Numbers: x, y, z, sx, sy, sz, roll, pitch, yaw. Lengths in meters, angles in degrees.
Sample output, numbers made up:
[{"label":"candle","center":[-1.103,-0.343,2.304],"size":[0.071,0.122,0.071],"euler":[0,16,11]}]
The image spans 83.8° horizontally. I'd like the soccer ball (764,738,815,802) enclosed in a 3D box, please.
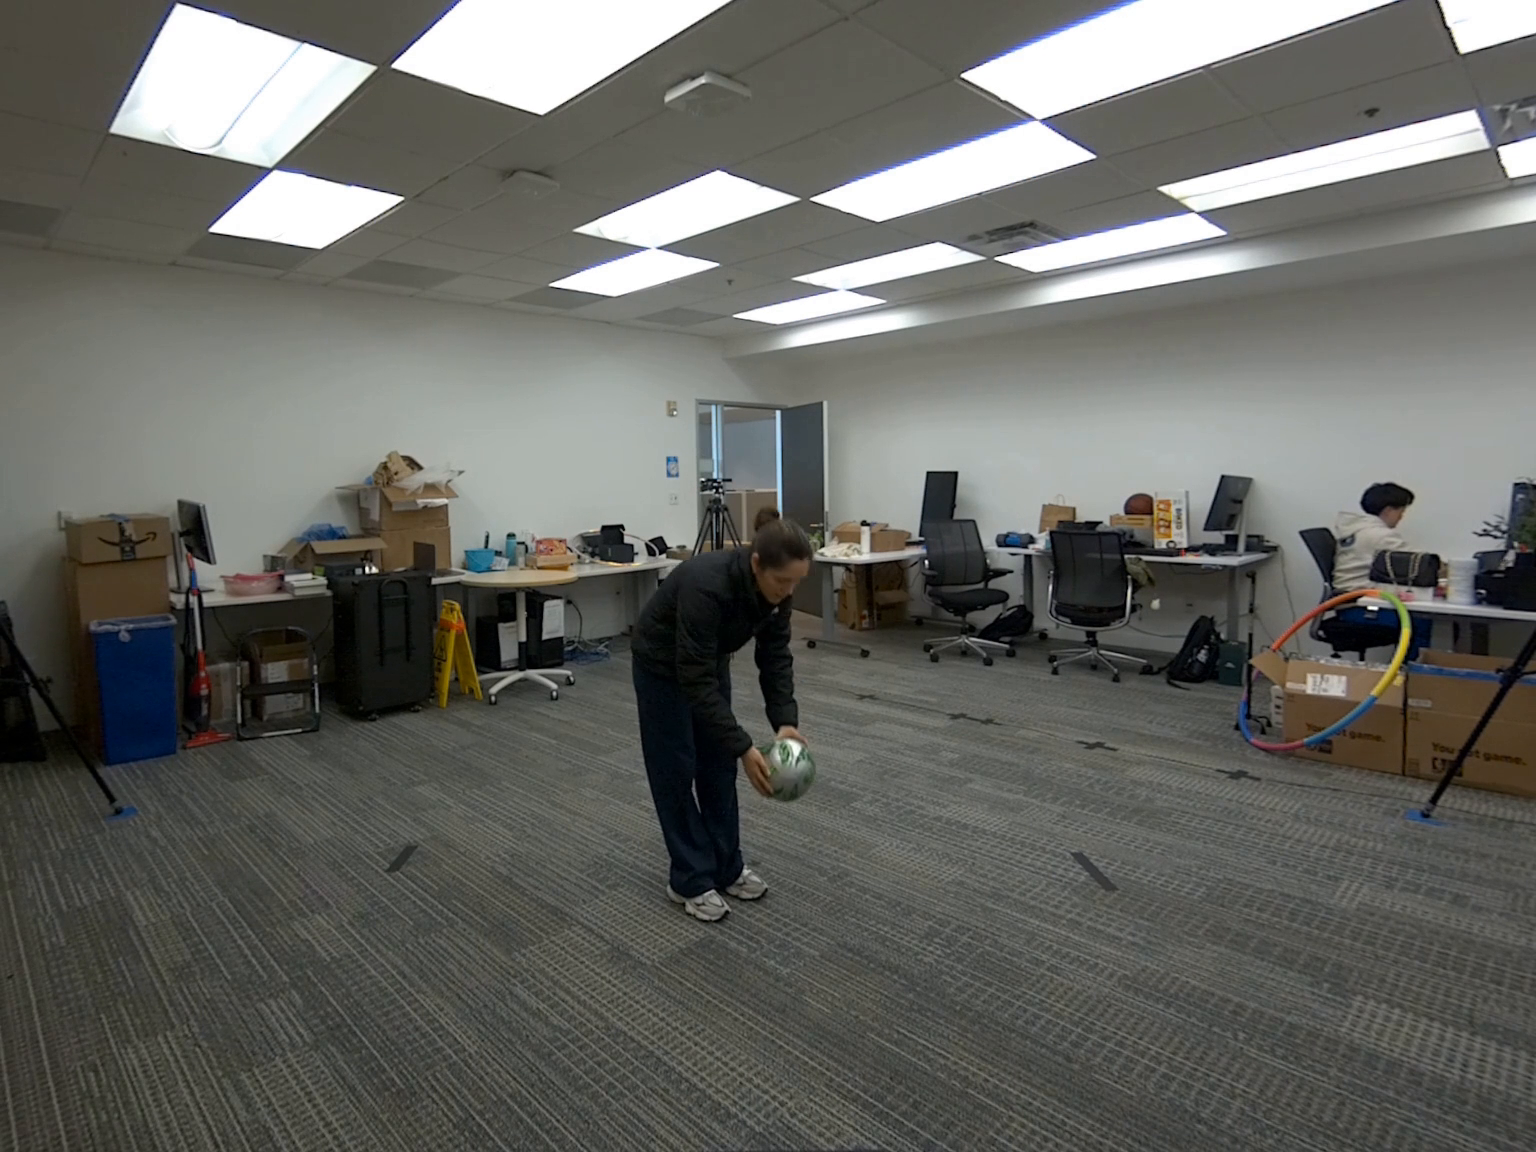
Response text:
[{"label":"soccer ball","center":[0.046,0.558,2.594],"size":[0.187,0.187,0.188],"euler":[-1,5,-2]}]
